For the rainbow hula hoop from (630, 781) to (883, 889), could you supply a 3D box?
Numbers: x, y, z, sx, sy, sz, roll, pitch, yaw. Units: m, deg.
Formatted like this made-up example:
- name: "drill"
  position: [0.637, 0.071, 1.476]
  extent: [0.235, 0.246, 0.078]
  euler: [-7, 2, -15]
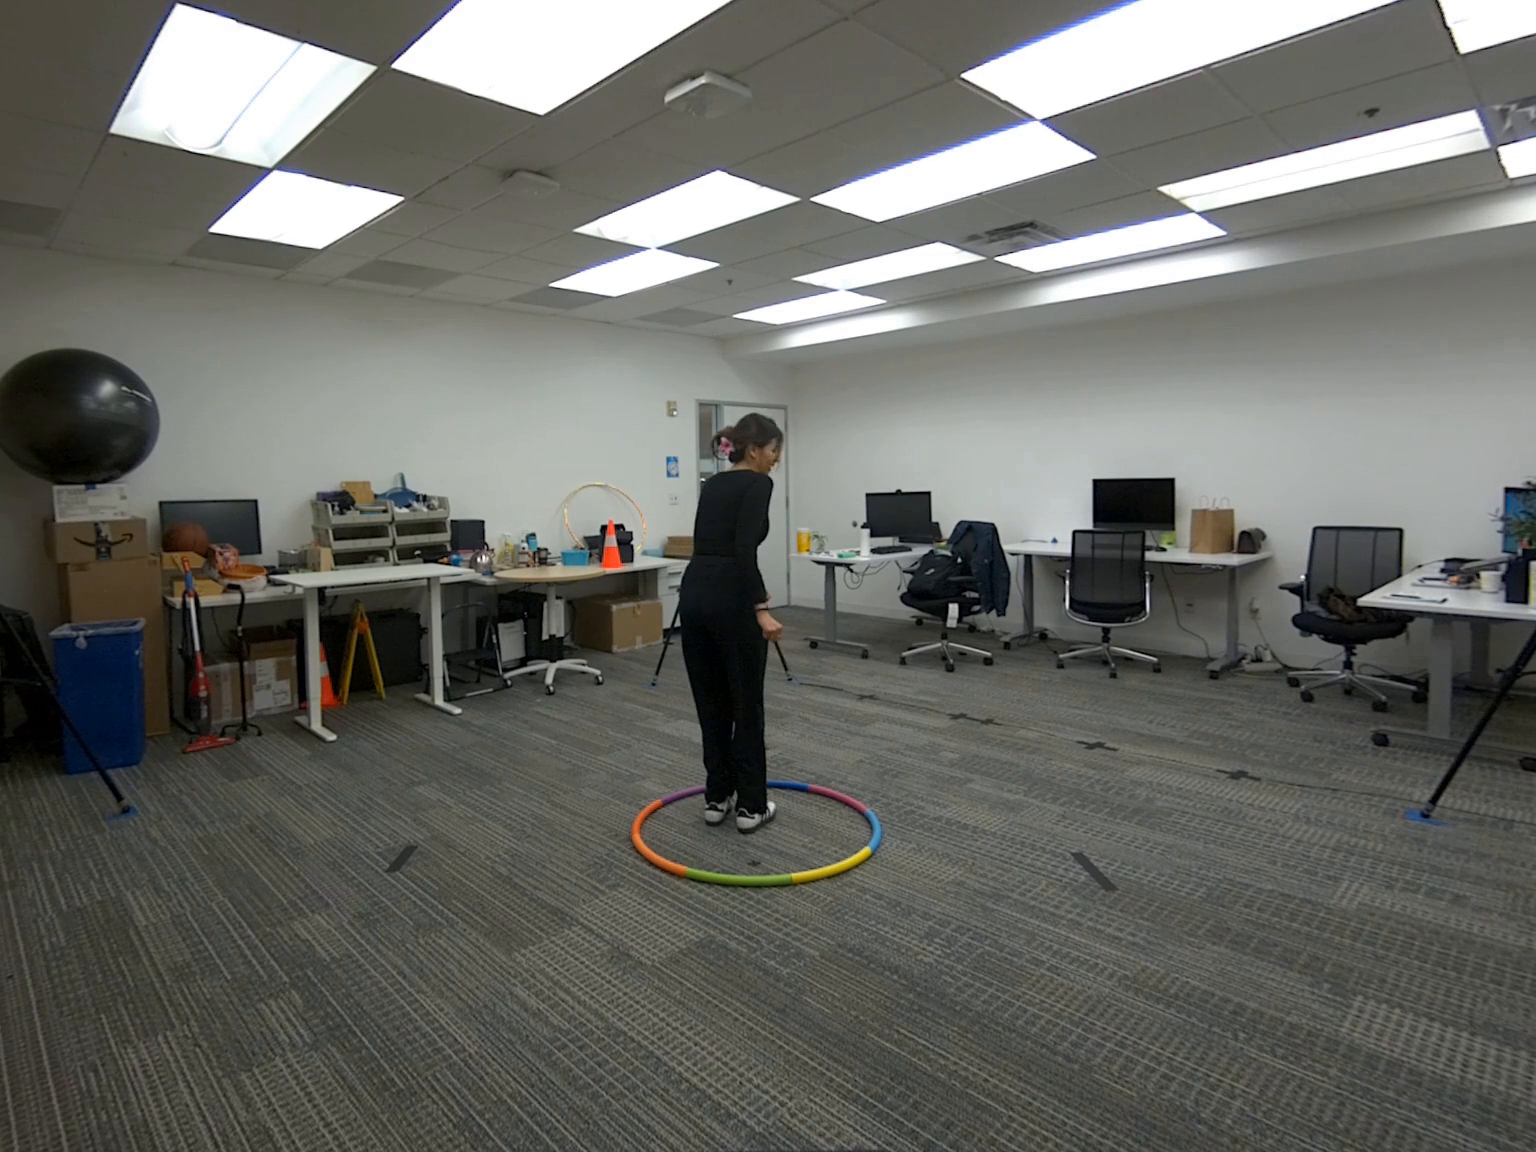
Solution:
- name: "rainbow hula hoop"
  position: [-0.048, 0.984, 3.402]
  extent: [0.978, 0.035, 0.984]
  euler: [-1, 6, -2]
